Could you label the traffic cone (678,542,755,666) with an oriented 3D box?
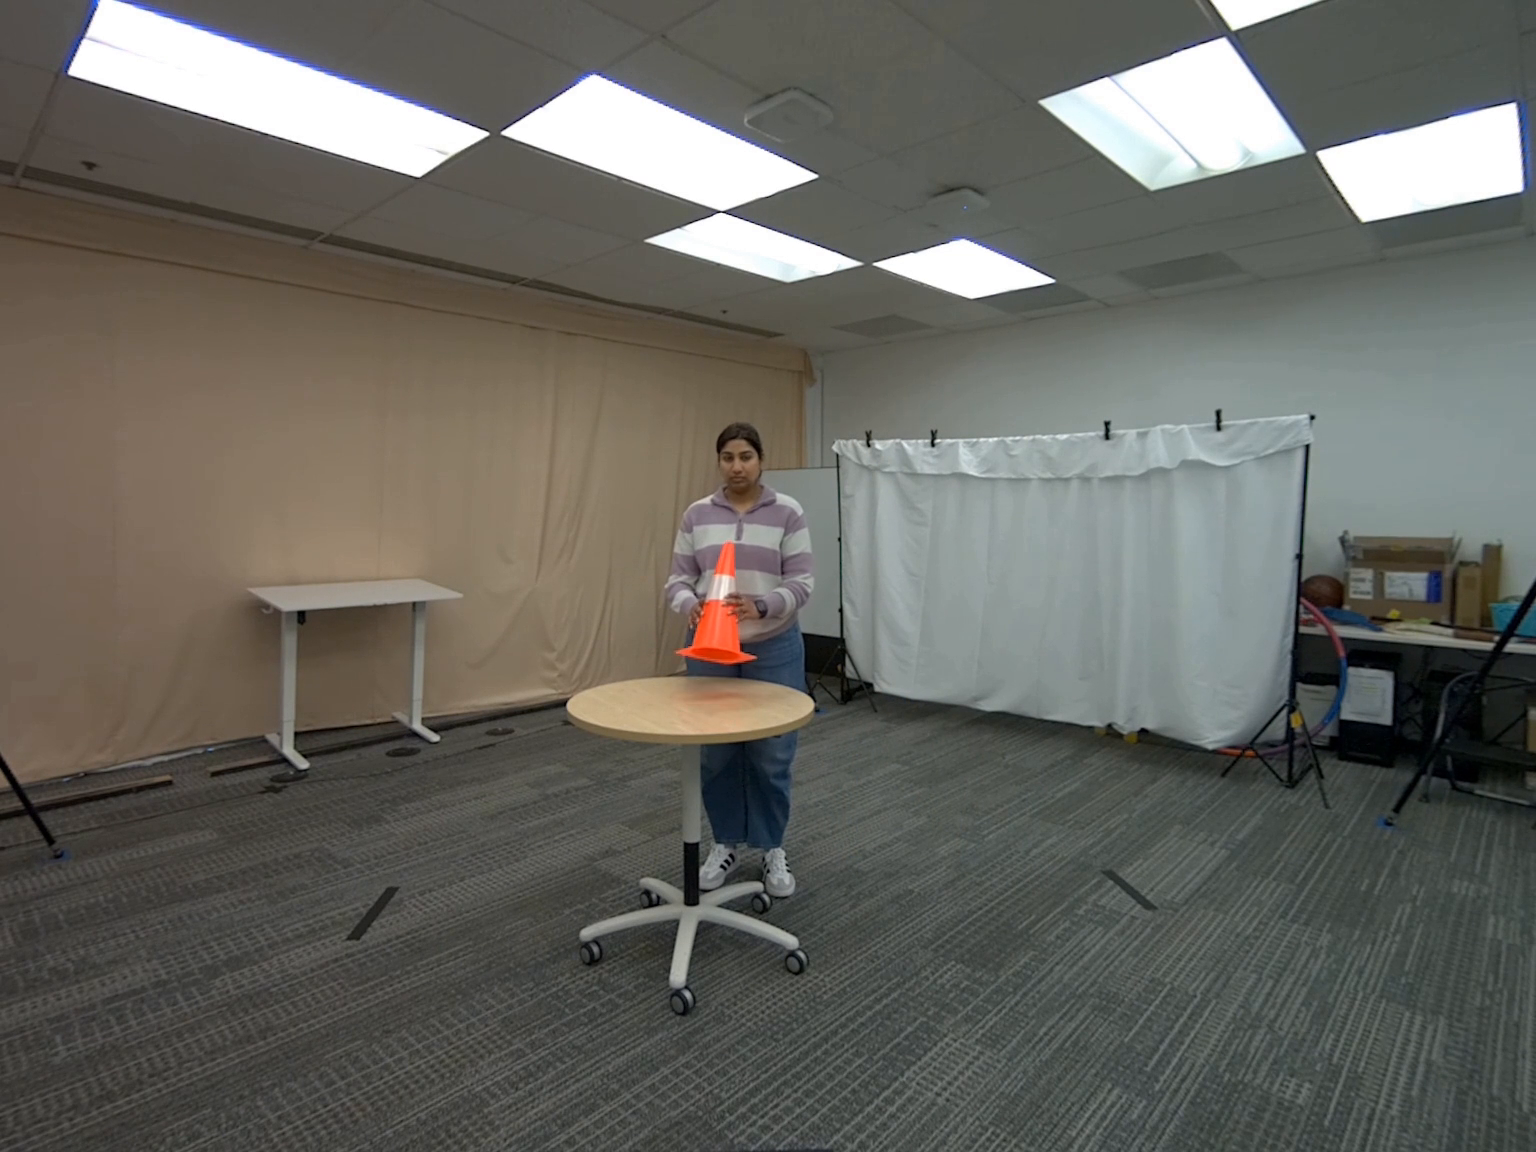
[{"bbox_3d":[-0.147,0.075,2.723,0.197,0.387,0.210,21,-24,-33],"label":"traffic cone"}]
